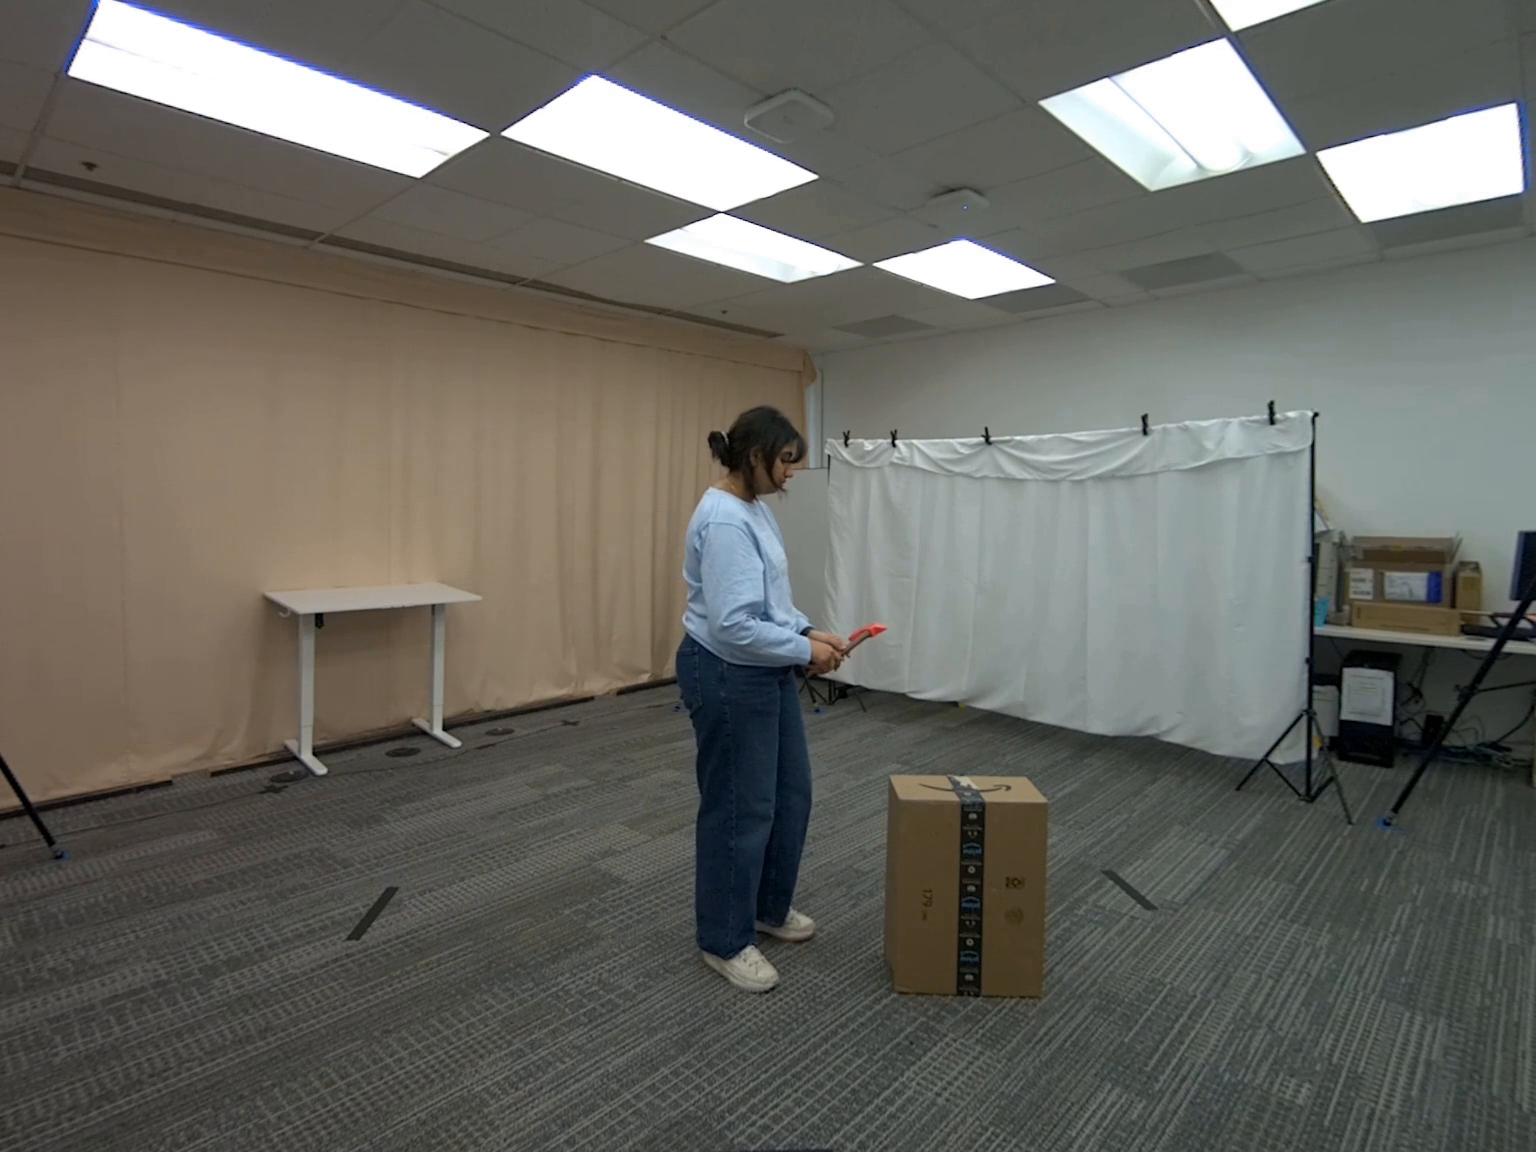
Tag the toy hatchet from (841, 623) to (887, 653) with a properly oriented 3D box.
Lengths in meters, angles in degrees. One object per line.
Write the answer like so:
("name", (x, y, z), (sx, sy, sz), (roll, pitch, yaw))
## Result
("toy hatchet", (0.228, 0.213, 2.520), (0.267, 0.029, 0.134), (-28, 11, -19))
